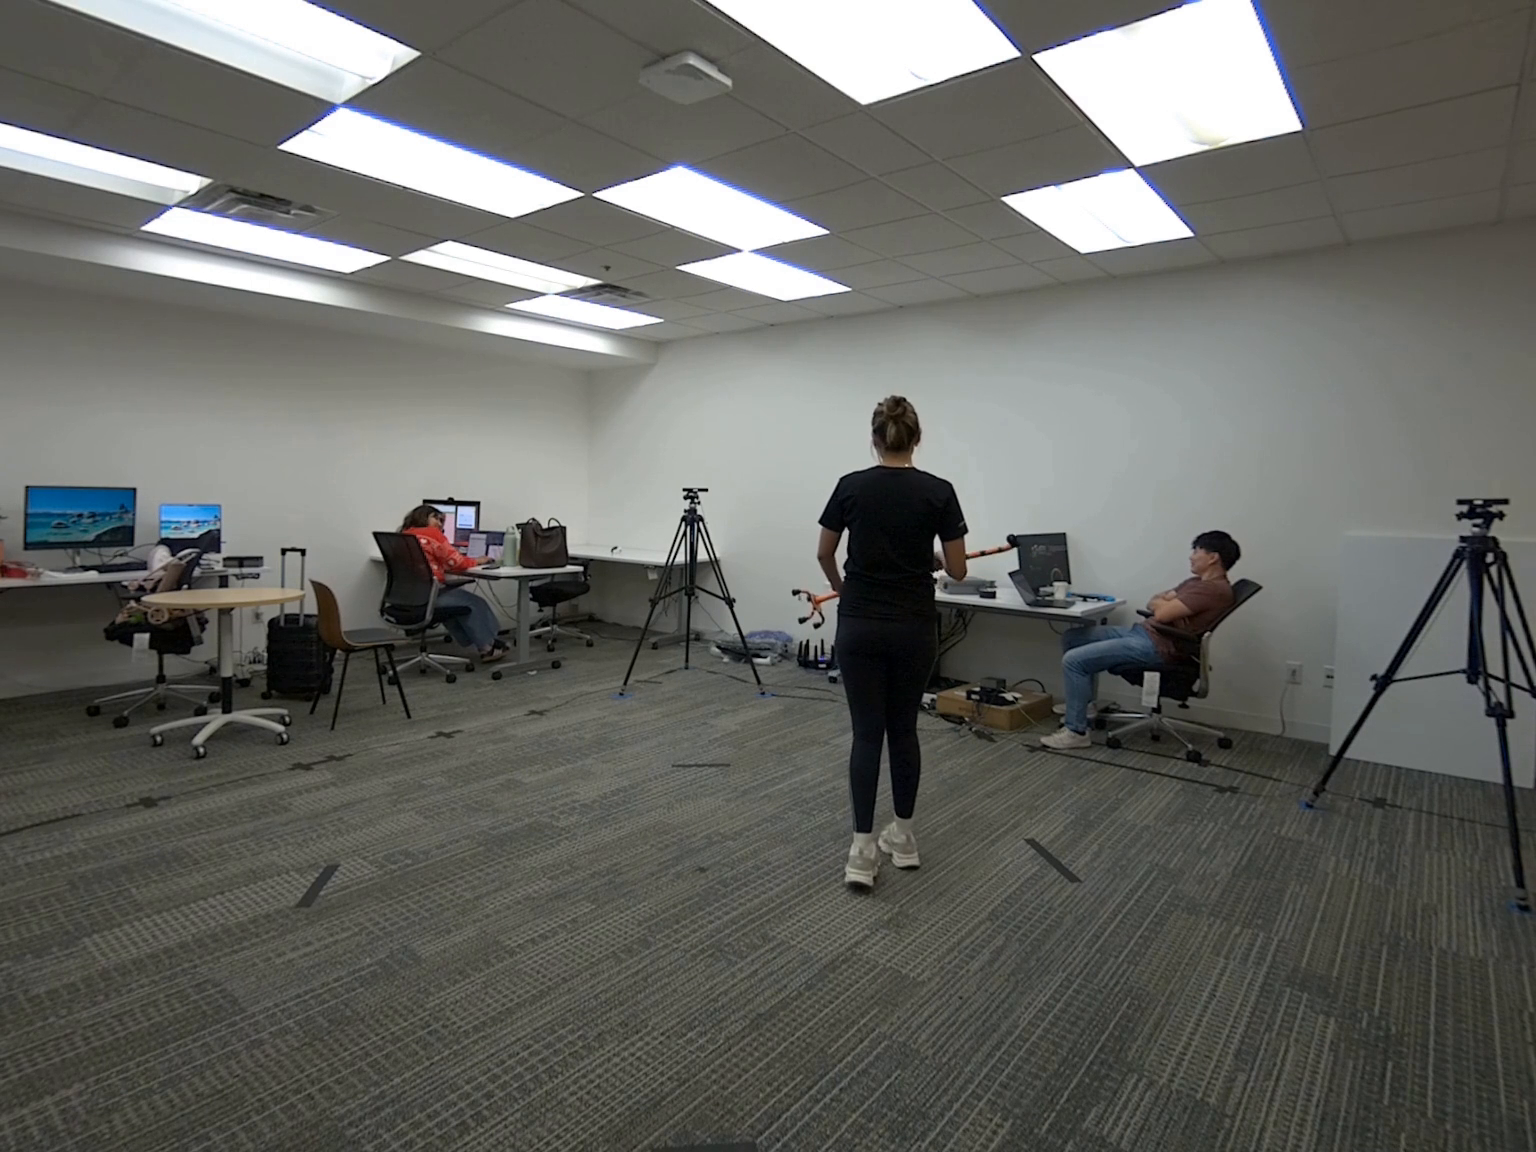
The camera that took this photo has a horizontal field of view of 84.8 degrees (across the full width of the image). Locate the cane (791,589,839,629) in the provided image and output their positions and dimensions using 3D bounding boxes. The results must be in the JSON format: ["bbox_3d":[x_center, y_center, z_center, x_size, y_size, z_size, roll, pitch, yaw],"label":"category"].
[{"bbox_3d":[0.541,0.015,3.434,0.920,0.154,0.200,-18,-17,21],"label":"cane"}]
